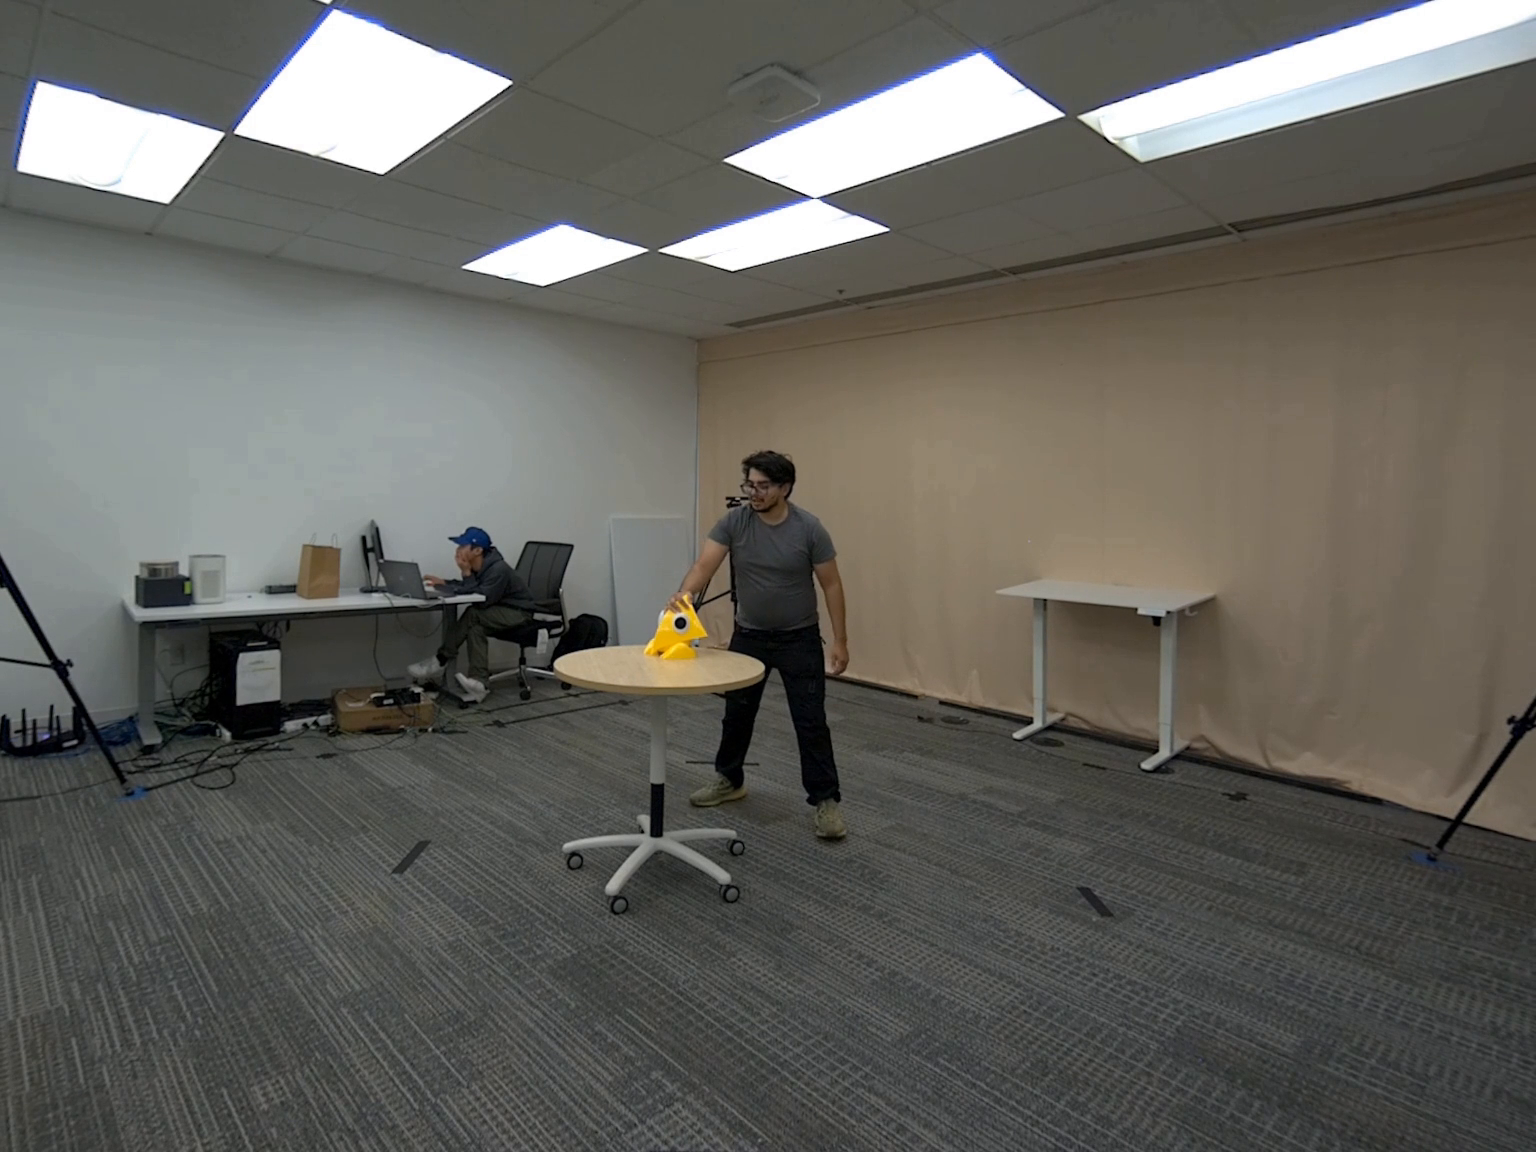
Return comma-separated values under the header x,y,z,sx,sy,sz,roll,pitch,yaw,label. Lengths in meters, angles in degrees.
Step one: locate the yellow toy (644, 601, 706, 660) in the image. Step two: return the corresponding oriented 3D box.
x,y,z,sx,sy,sz,roll,pitch,yaw,label
-0.372,0.191,3.259,0.188,0.230,0.210,-1,5,-40,yellow toy
